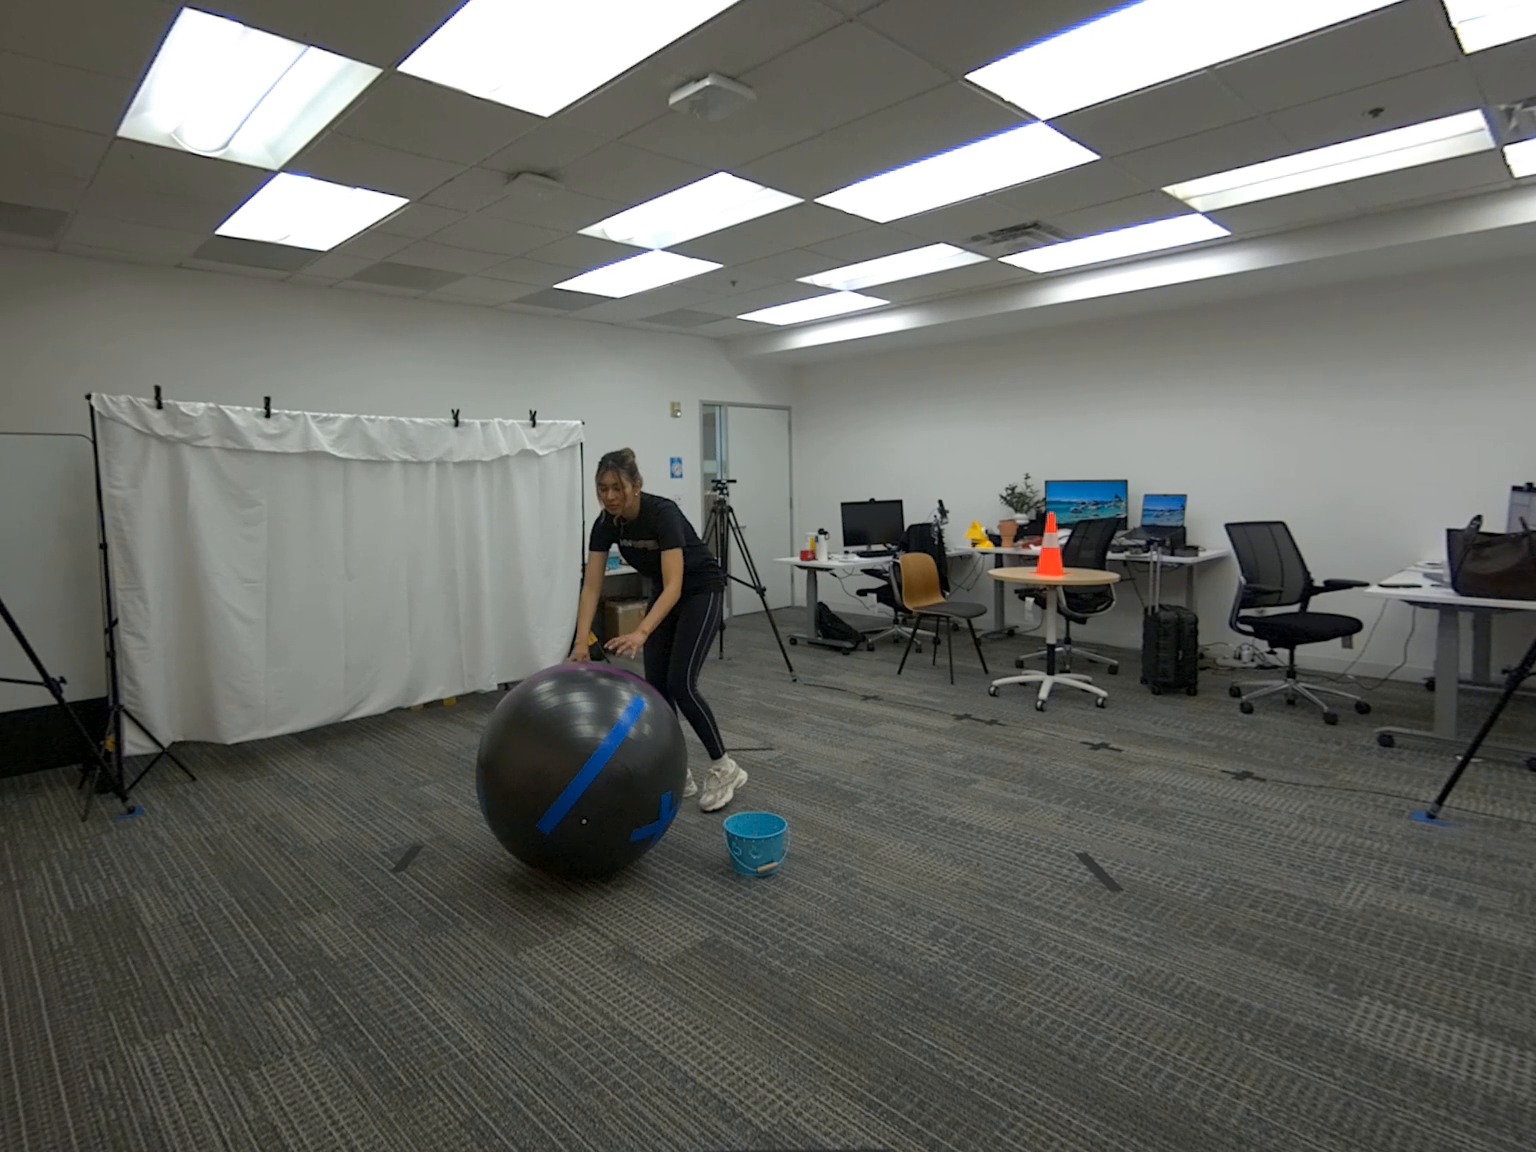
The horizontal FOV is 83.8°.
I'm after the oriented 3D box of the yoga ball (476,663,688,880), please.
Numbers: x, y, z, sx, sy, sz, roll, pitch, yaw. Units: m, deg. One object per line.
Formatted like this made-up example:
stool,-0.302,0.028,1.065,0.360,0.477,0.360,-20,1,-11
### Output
yoga ball,-0.668,0.690,3.096,0.757,0.755,0.762,-1,5,-2
